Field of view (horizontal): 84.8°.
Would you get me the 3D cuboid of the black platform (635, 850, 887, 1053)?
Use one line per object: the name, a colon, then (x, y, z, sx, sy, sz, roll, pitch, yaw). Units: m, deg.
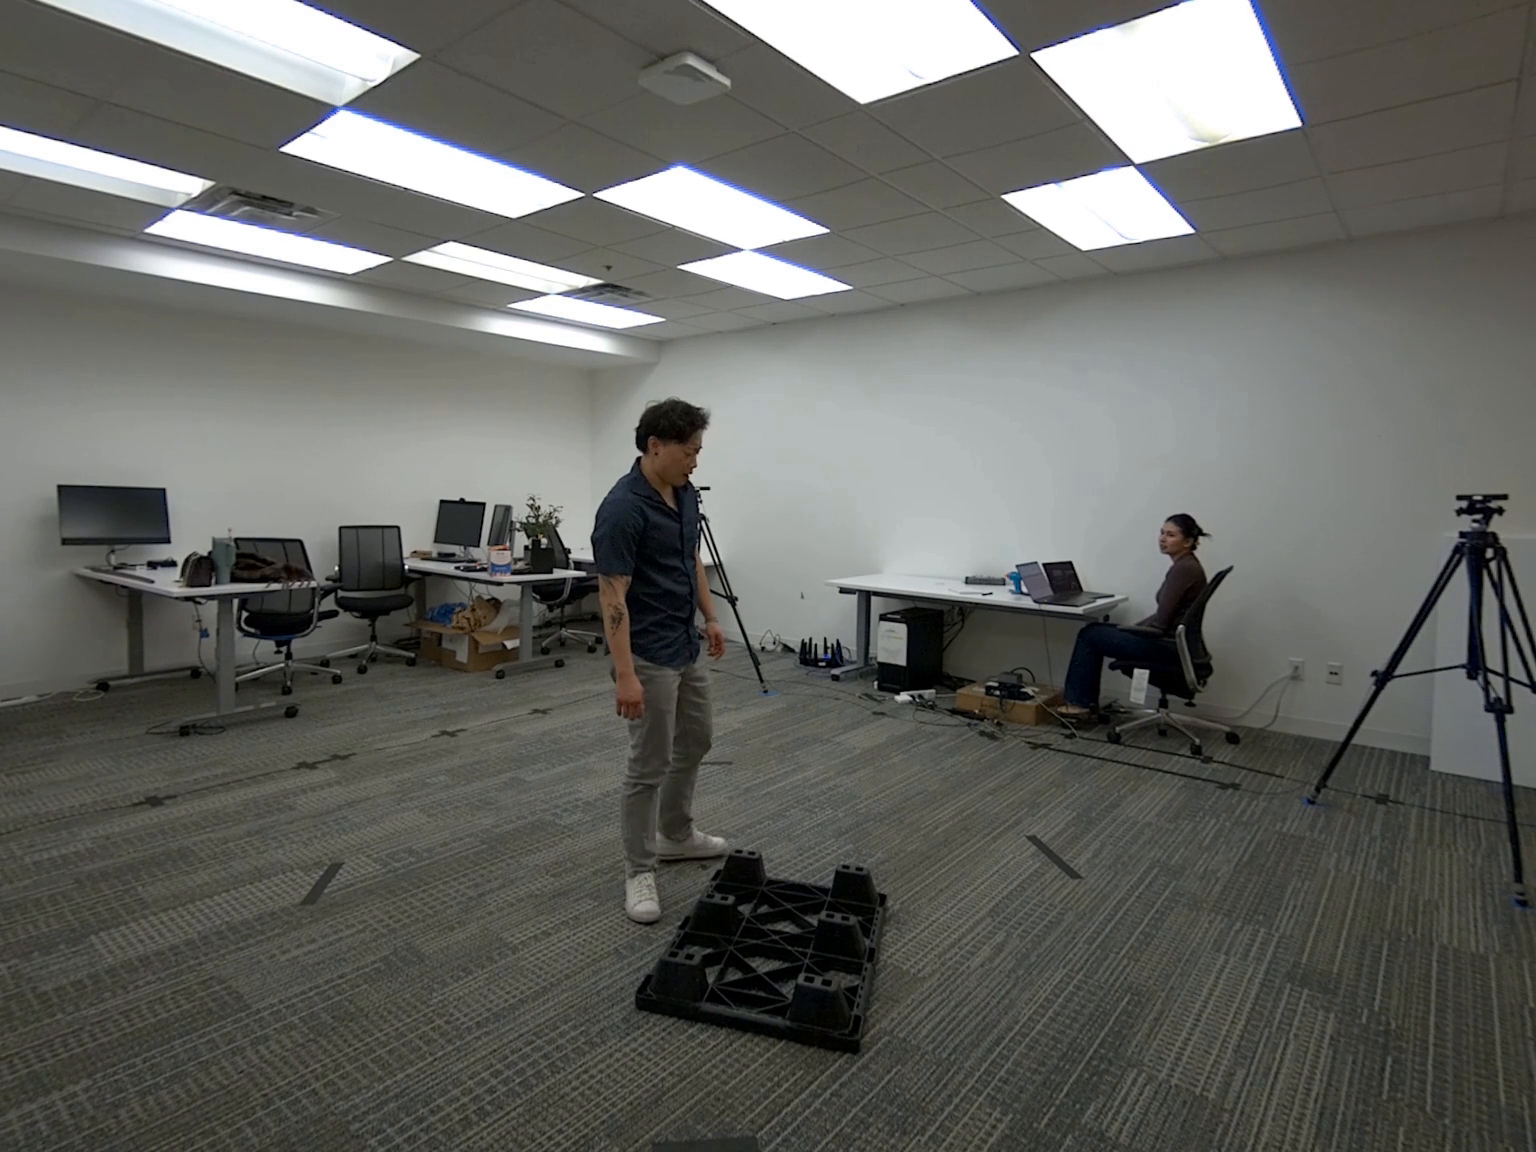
black platform: (0.022, 1.060, 2.550, 0.615, 0.143, 0.796, 2, 6, 14)
